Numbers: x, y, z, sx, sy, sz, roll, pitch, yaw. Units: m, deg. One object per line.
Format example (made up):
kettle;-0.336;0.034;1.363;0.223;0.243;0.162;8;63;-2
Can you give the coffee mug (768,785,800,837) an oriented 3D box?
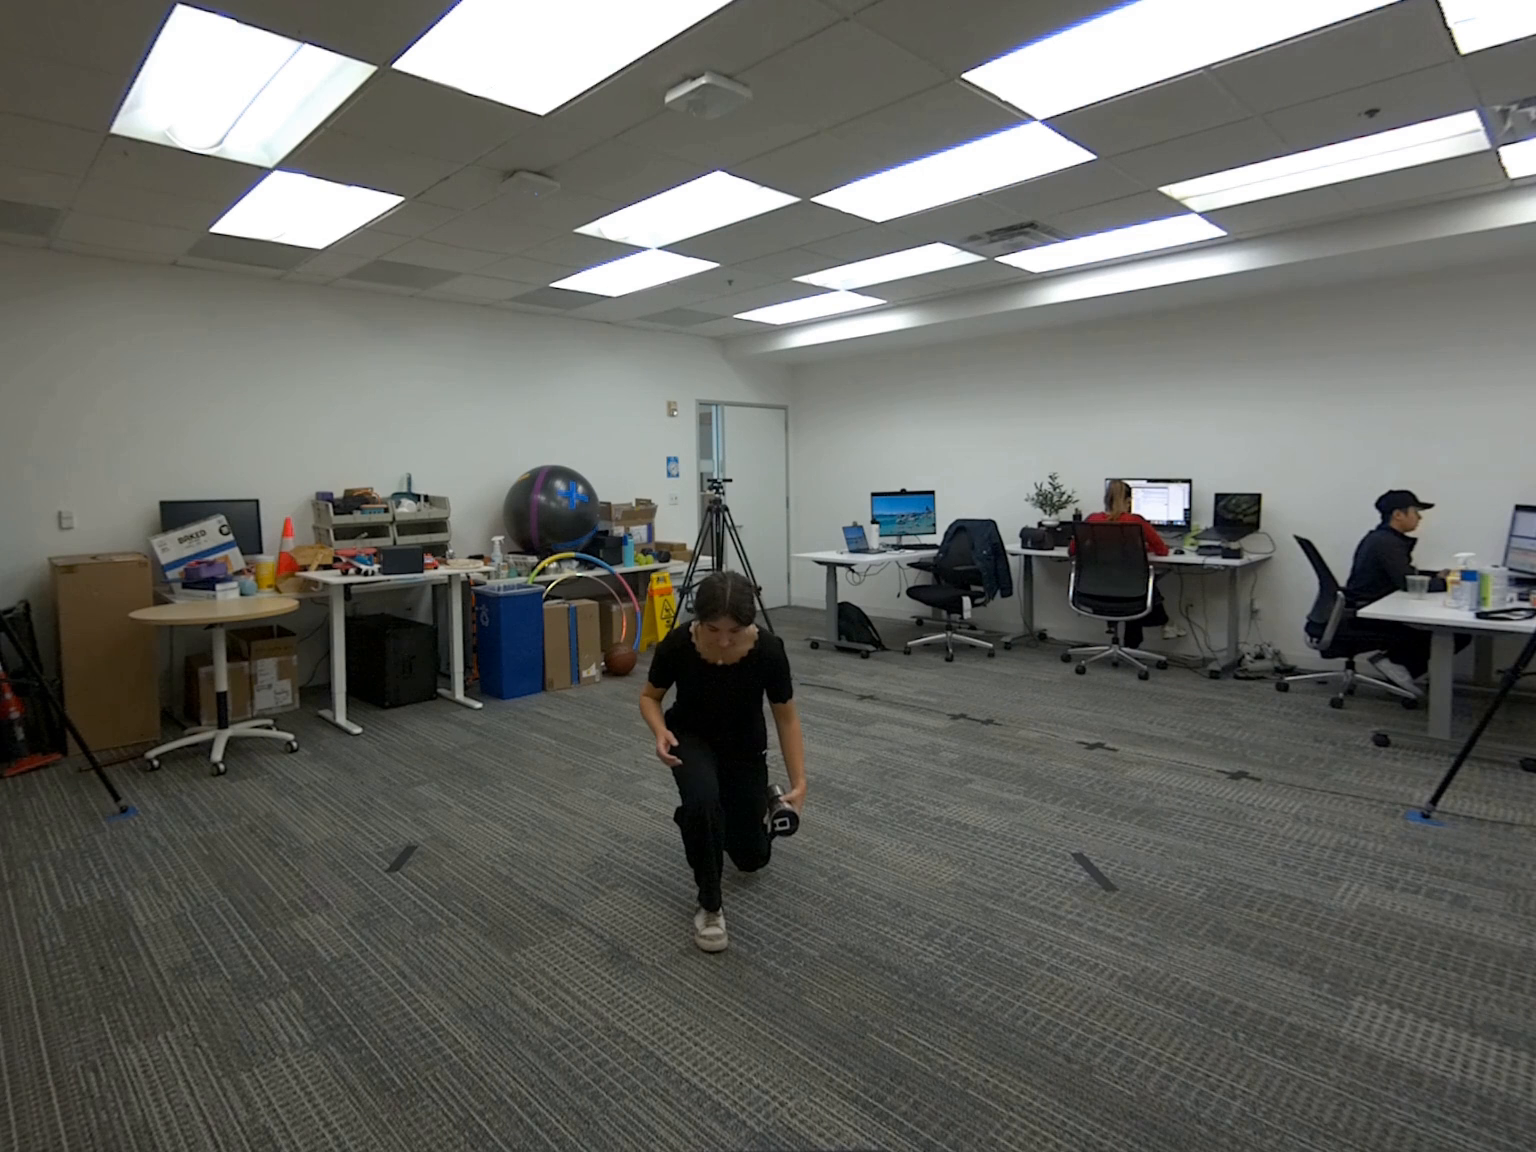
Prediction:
coffee mug;0.007;0.728;2.642;0.086;0.122;0.207;34;-1;-17
